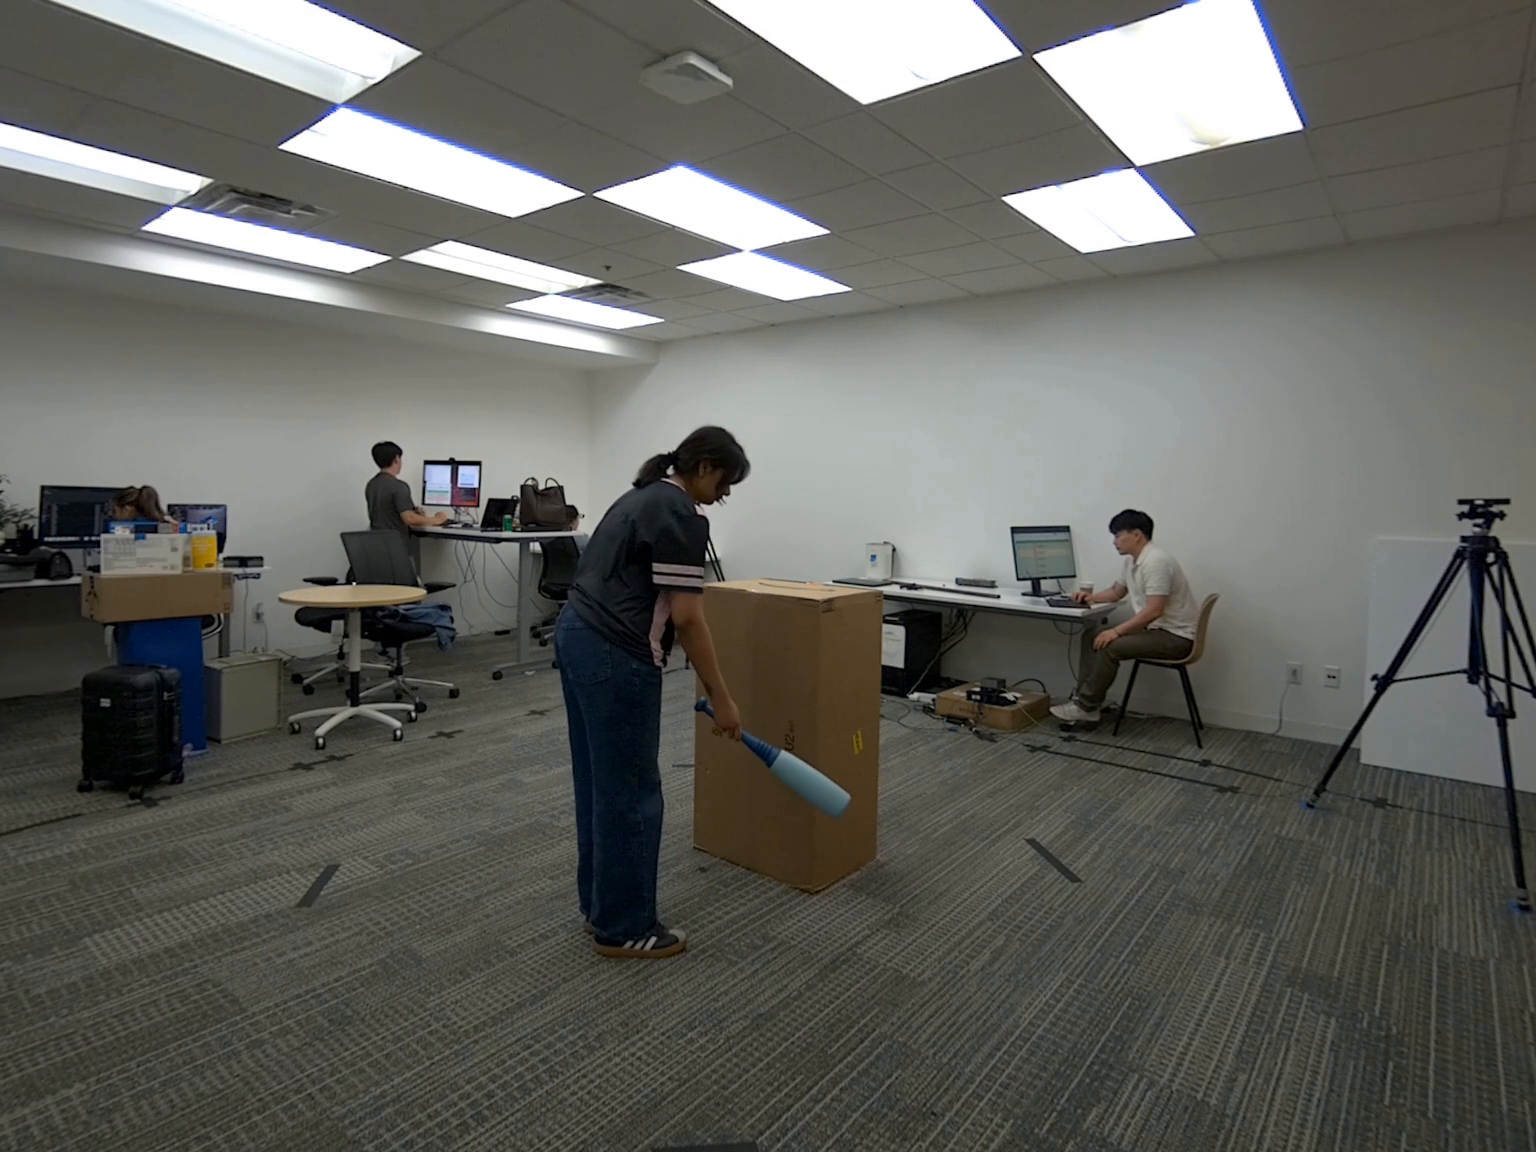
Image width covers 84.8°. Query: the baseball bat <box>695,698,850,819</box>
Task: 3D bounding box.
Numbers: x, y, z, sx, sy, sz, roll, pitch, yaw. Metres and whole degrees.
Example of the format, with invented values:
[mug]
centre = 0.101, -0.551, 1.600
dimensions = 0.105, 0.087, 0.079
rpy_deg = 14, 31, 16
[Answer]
[baseball bat]
centre = 0.001, 0.550, 2.576
dimensions = 0.550, 0.089, 0.088
rpy_deg = 35, 9, 9
